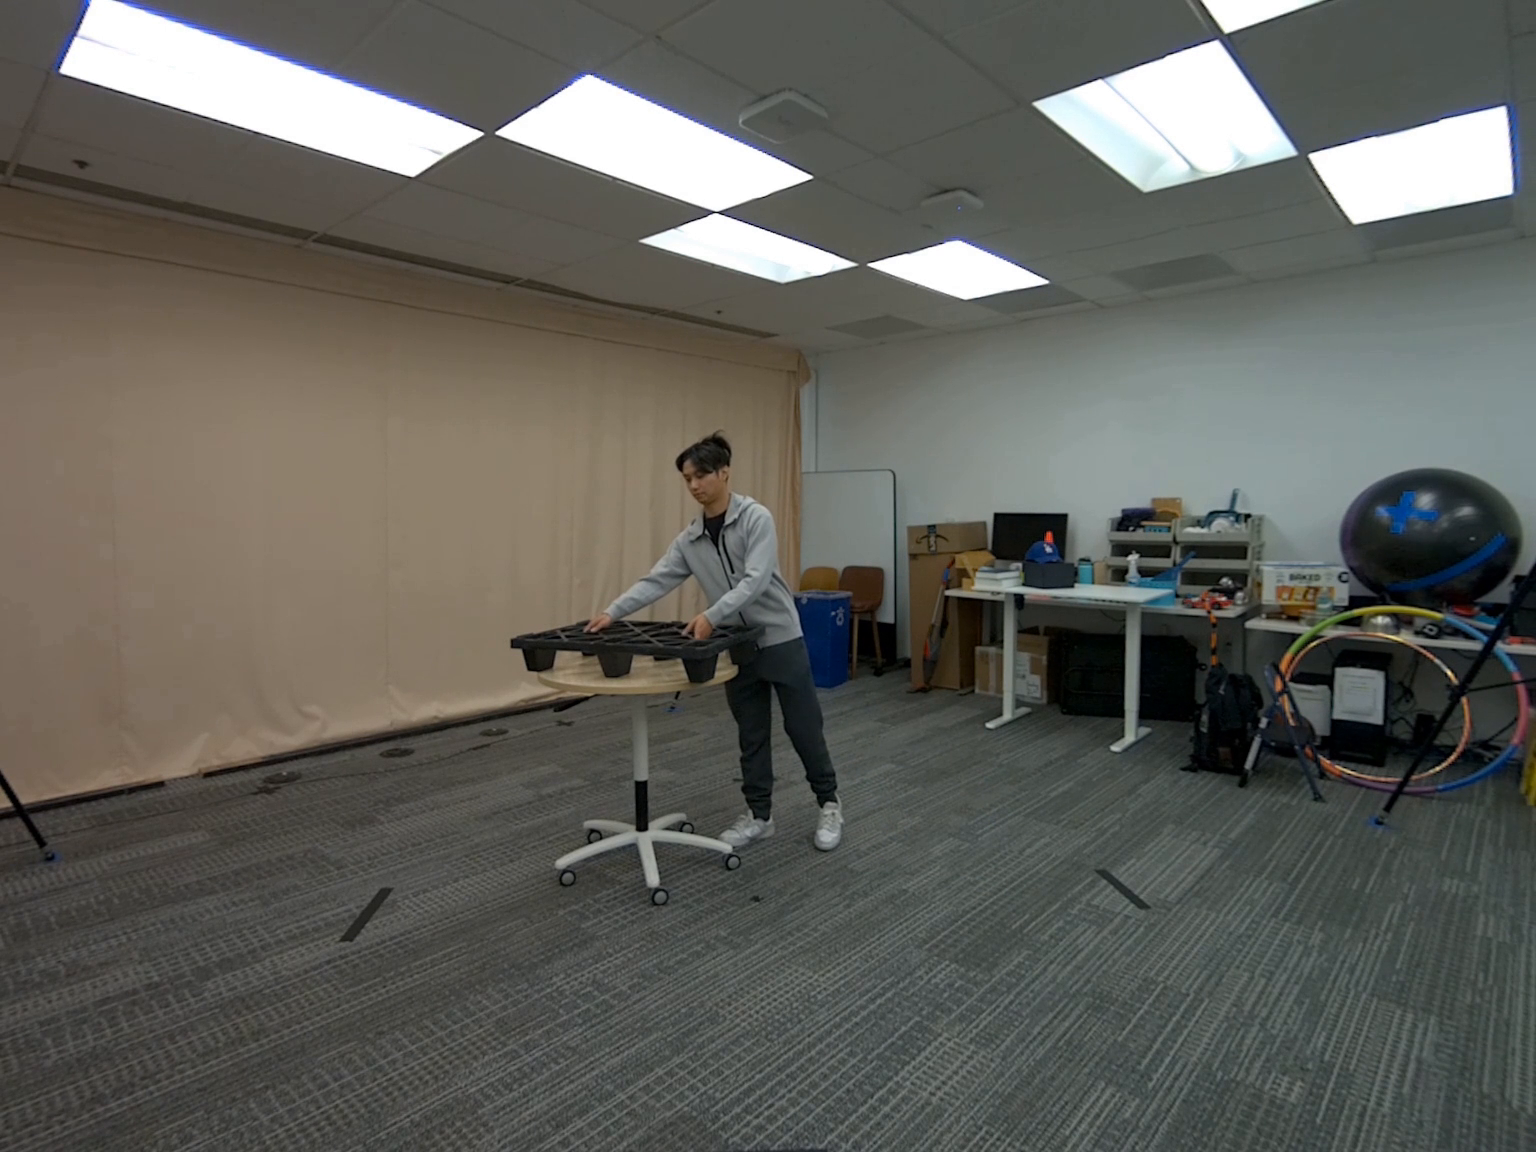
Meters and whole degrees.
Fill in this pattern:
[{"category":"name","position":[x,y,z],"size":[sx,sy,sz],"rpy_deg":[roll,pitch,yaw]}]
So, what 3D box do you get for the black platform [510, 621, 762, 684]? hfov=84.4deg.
[{"category":"black platform","position":[-0.493,0.281,3.234],"size":[0.826,0.143,0.591],"rpy_deg":[1,4,24]}]
